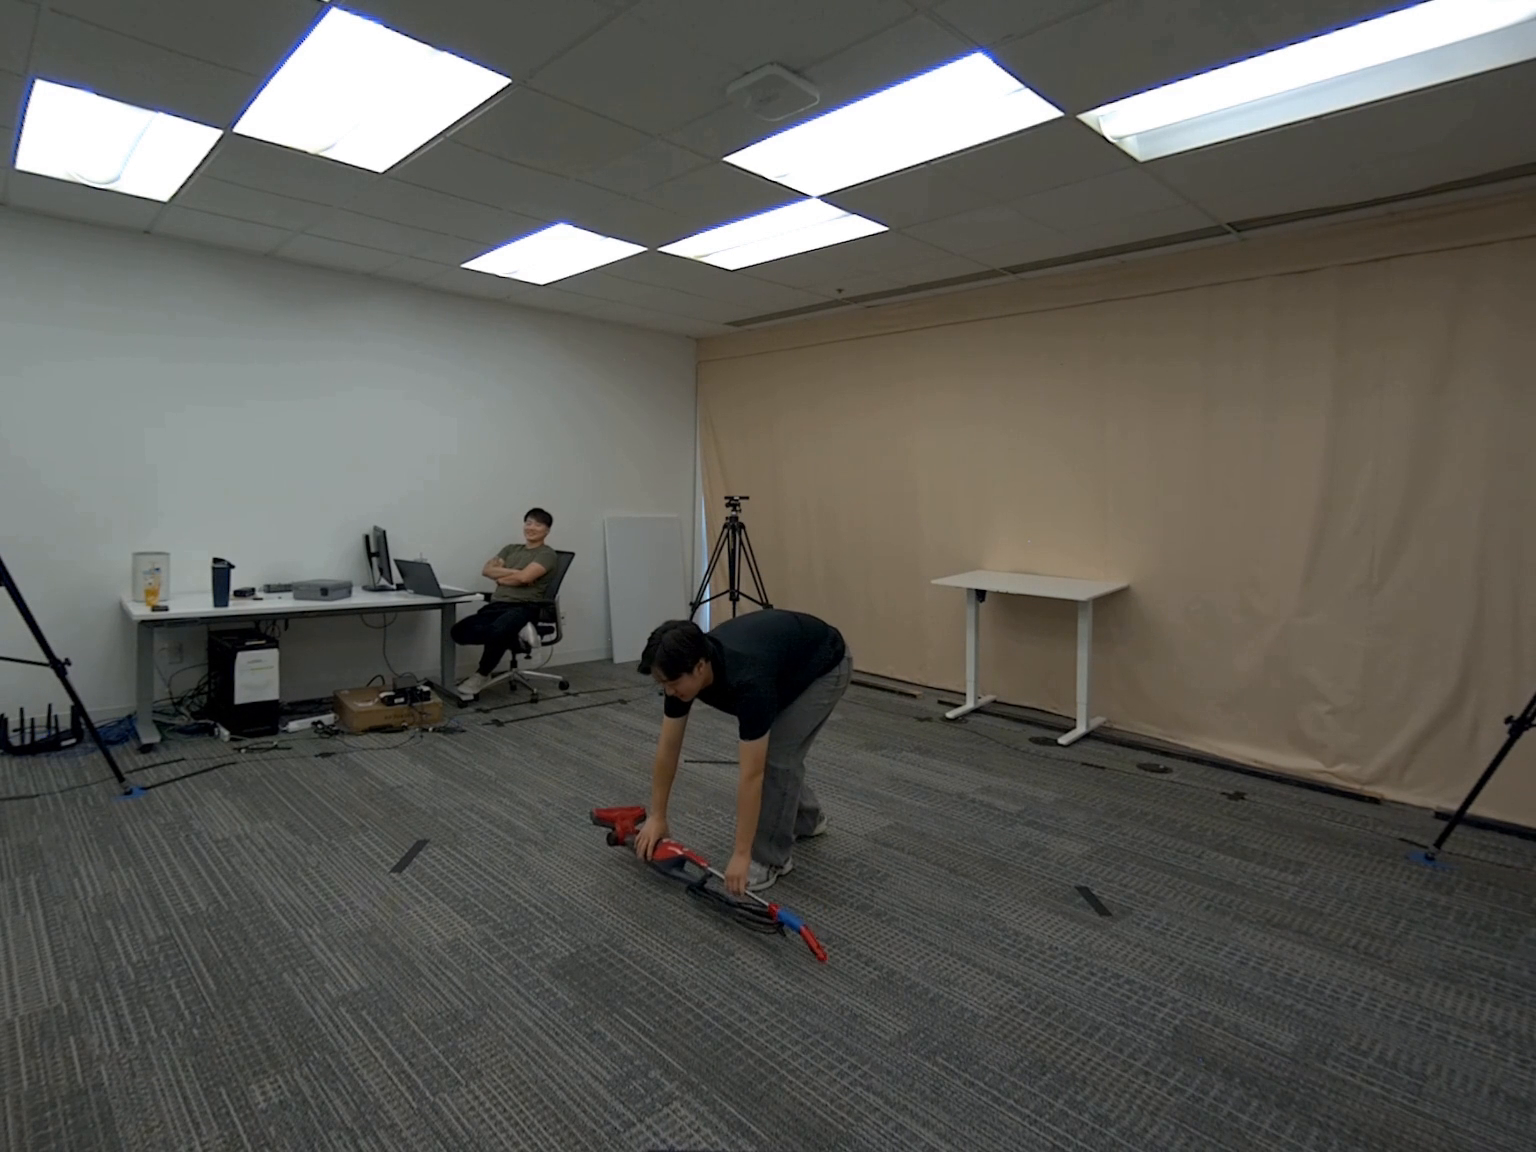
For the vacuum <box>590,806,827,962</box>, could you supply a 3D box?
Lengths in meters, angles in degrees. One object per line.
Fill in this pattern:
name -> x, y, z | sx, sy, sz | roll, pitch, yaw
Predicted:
vacuum -> -0.211, 1.033, 2.840 | 0.246, 0.144, 1.078 | 10, 2, -42
